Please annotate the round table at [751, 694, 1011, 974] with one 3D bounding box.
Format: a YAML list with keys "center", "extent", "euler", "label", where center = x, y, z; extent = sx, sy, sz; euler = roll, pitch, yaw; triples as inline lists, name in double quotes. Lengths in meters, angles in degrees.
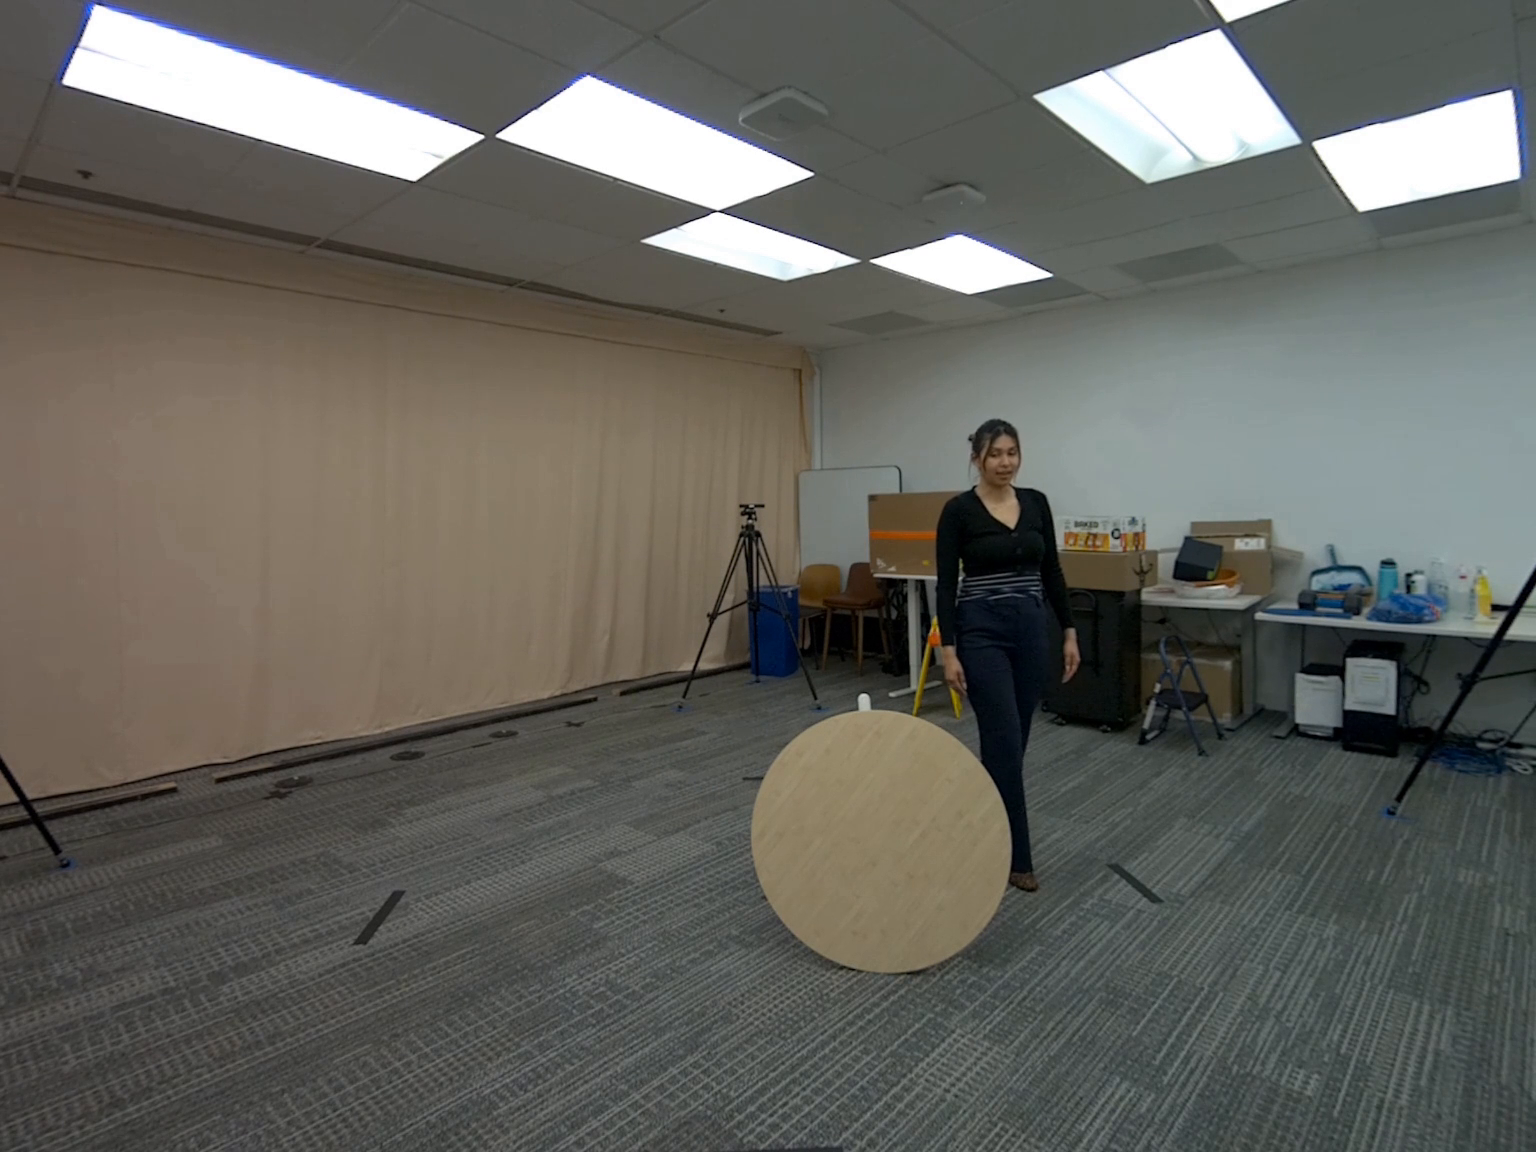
- center: [0.369, 0.804, 2.906]
  extent: [0.770, 0.765, 0.786]
  euler: [0, -2, 6]
  label: "round table"
